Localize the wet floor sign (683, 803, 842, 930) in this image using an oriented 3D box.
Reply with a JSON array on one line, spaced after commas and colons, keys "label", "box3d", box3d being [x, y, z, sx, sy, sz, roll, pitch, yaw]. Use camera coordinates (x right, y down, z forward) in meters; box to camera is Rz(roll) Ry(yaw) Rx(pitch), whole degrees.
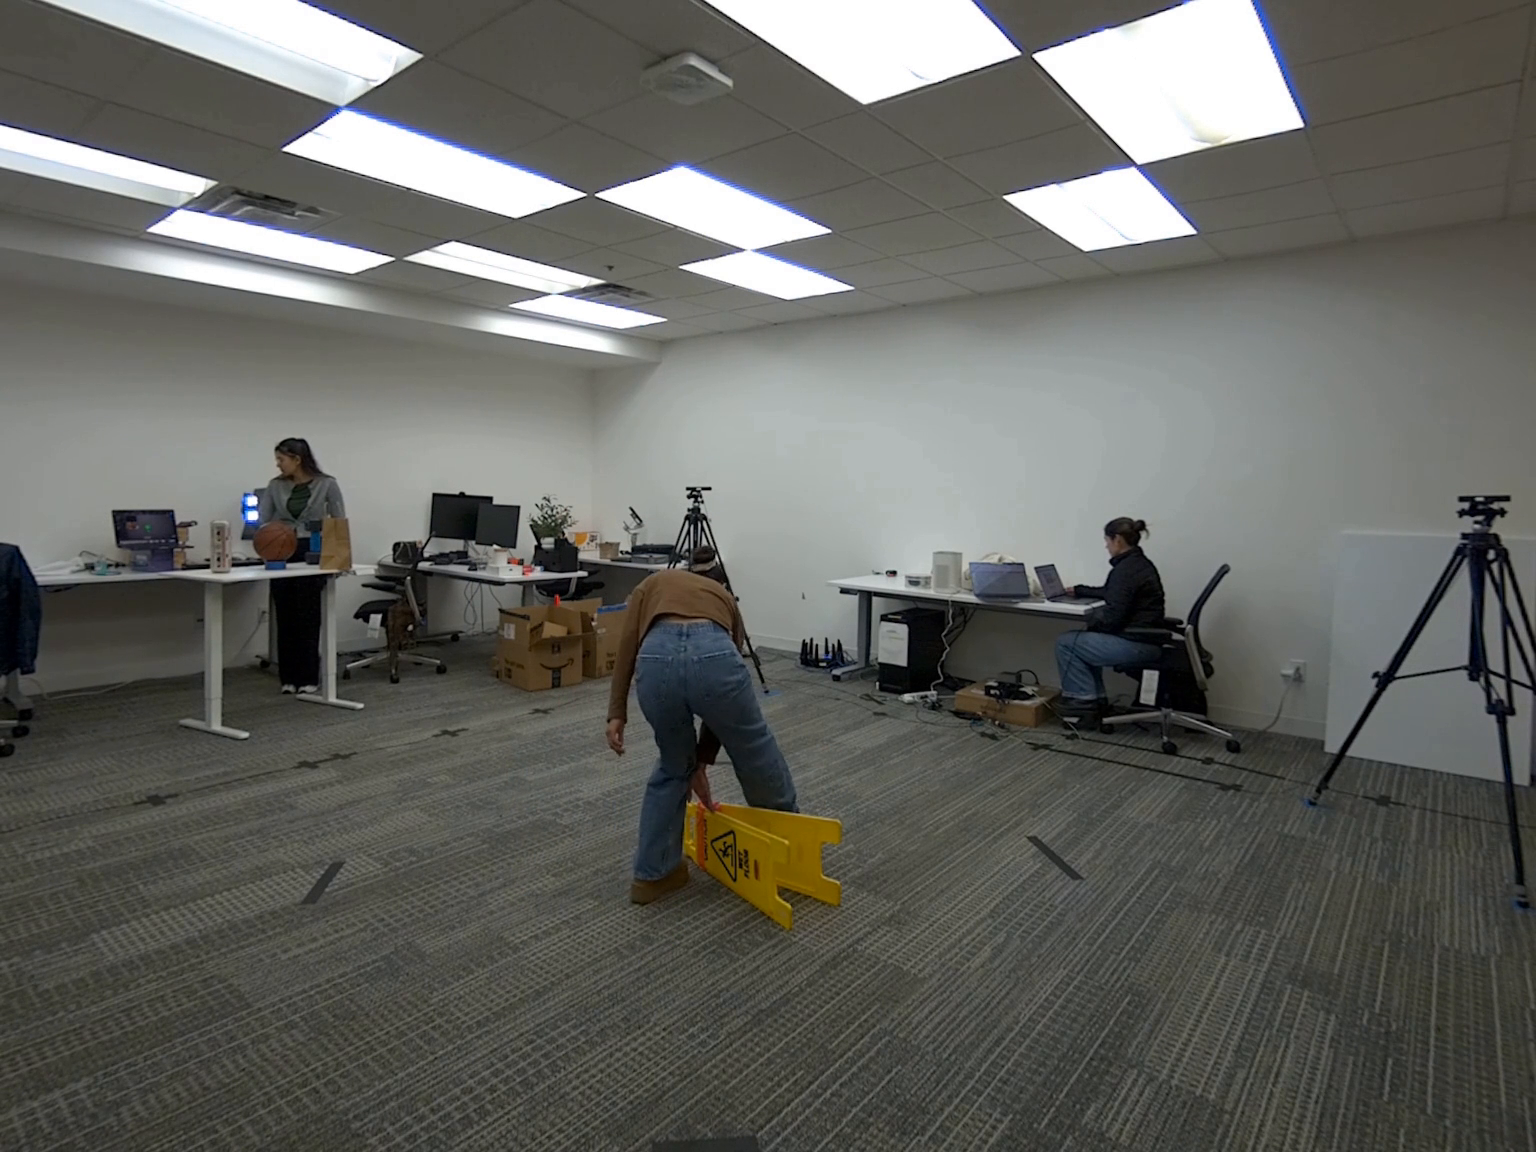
[{"label": "wet floor sign", "box3d": [-0.089, 0.953, 2.988, 0.667, 0.282, 0.281, 2, 3, 44]}]
